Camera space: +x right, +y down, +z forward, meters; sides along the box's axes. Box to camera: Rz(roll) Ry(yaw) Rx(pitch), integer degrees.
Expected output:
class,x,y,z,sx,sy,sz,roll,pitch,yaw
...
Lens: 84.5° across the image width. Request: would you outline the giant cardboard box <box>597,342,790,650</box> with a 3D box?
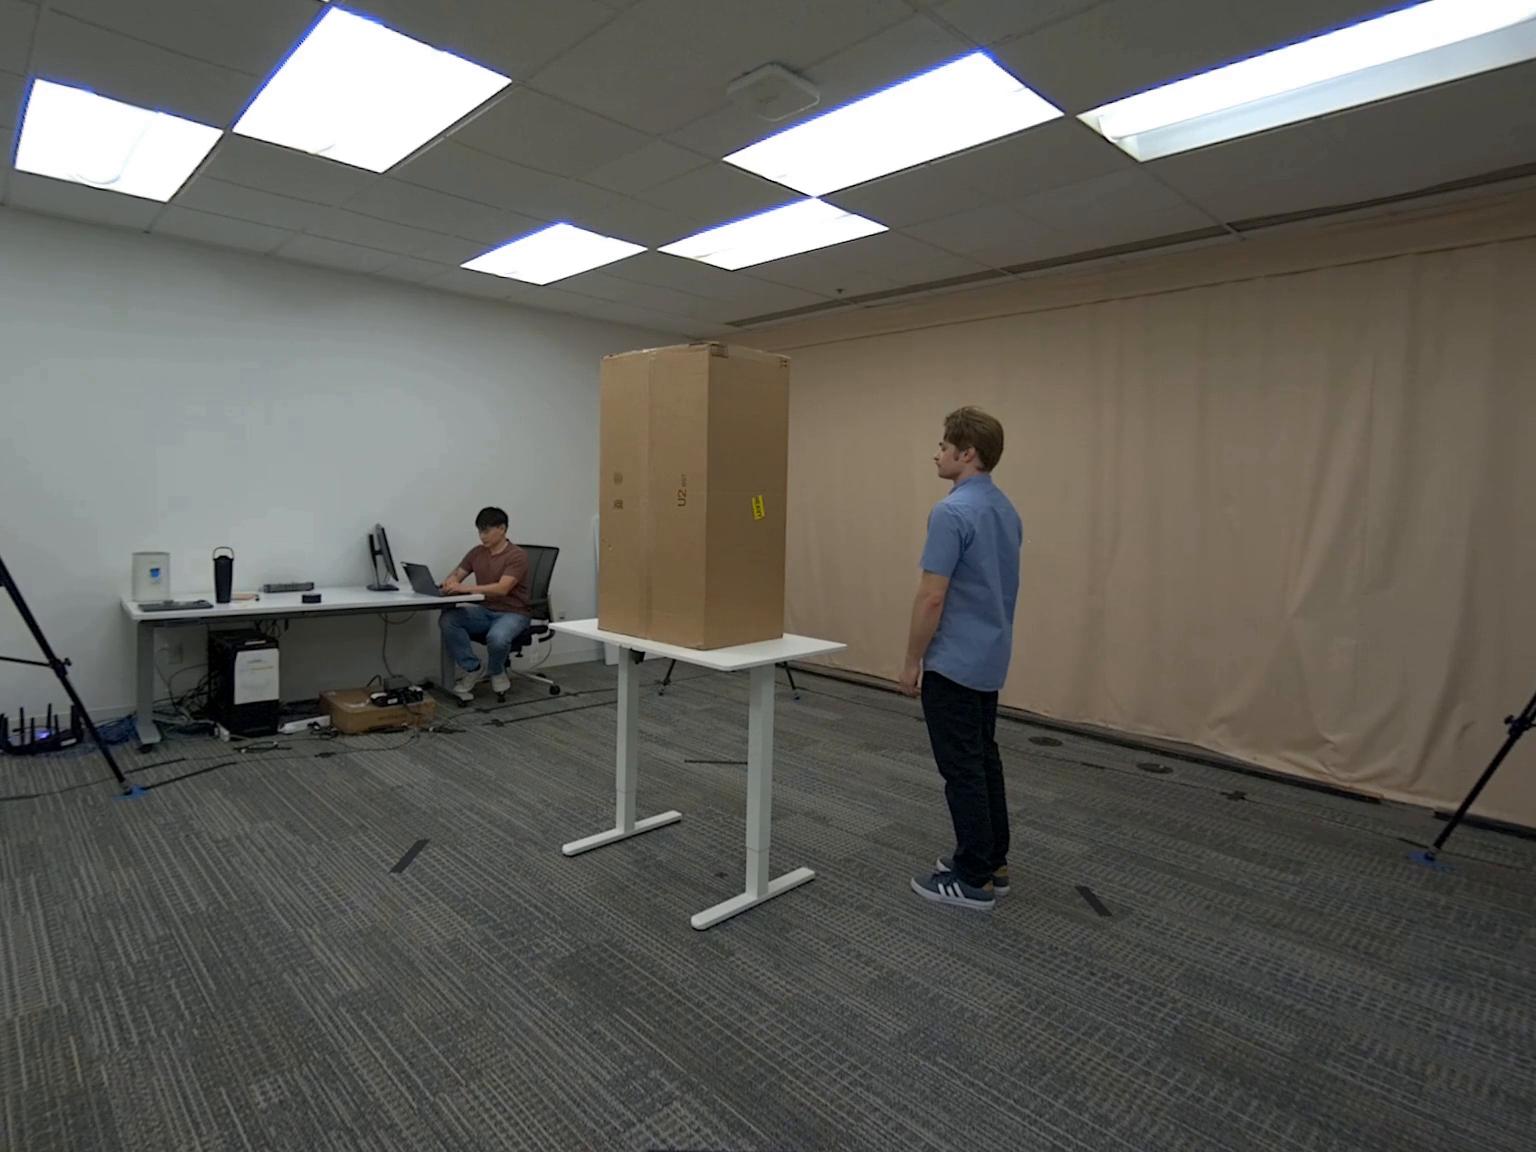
class,x,y,z,sx,sy,sz,roll,pitch,yaw
giant cardboard box,-0.285,-0.291,3.109,0.592,1.023,0.416,5,5,43
